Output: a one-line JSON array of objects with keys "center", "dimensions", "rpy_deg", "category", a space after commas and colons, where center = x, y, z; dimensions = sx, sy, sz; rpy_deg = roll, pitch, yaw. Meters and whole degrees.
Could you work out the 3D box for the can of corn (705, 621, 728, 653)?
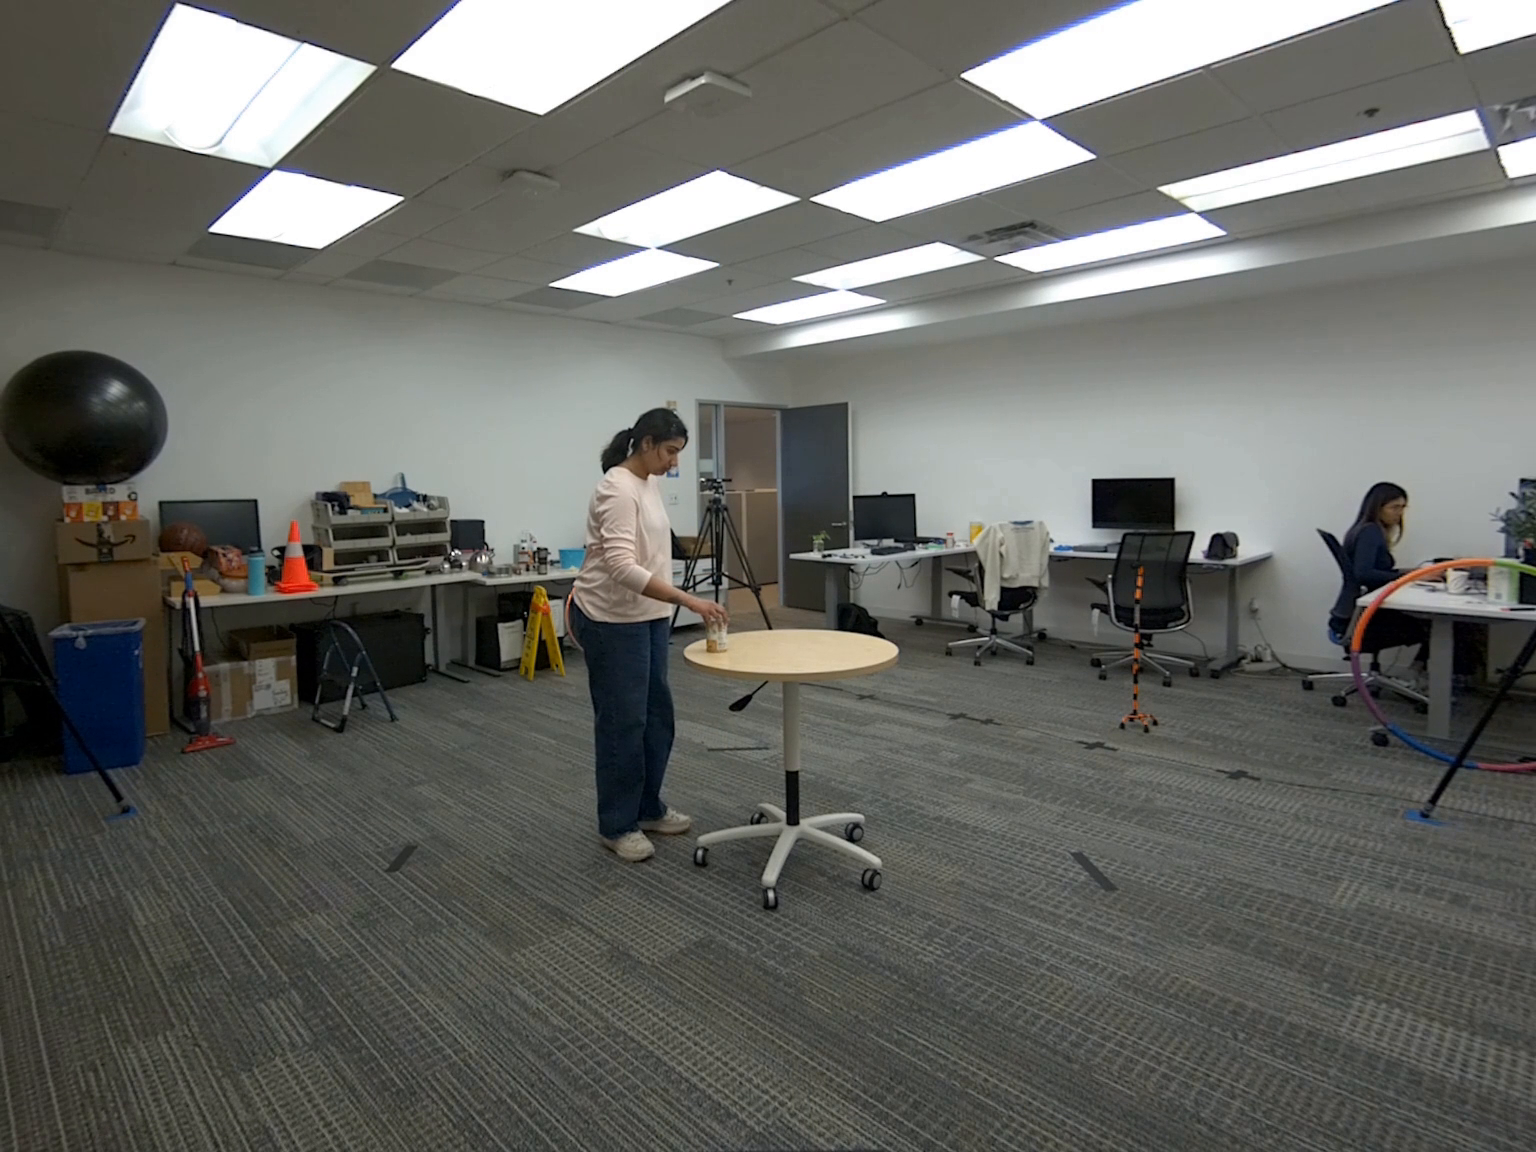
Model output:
[{"center": [-0.182, 0.218, 3.063], "dimensions": [0.074, 0.111, 0.074], "rpy_deg": [-6, 2, -1], "category": "can of corn"}]
